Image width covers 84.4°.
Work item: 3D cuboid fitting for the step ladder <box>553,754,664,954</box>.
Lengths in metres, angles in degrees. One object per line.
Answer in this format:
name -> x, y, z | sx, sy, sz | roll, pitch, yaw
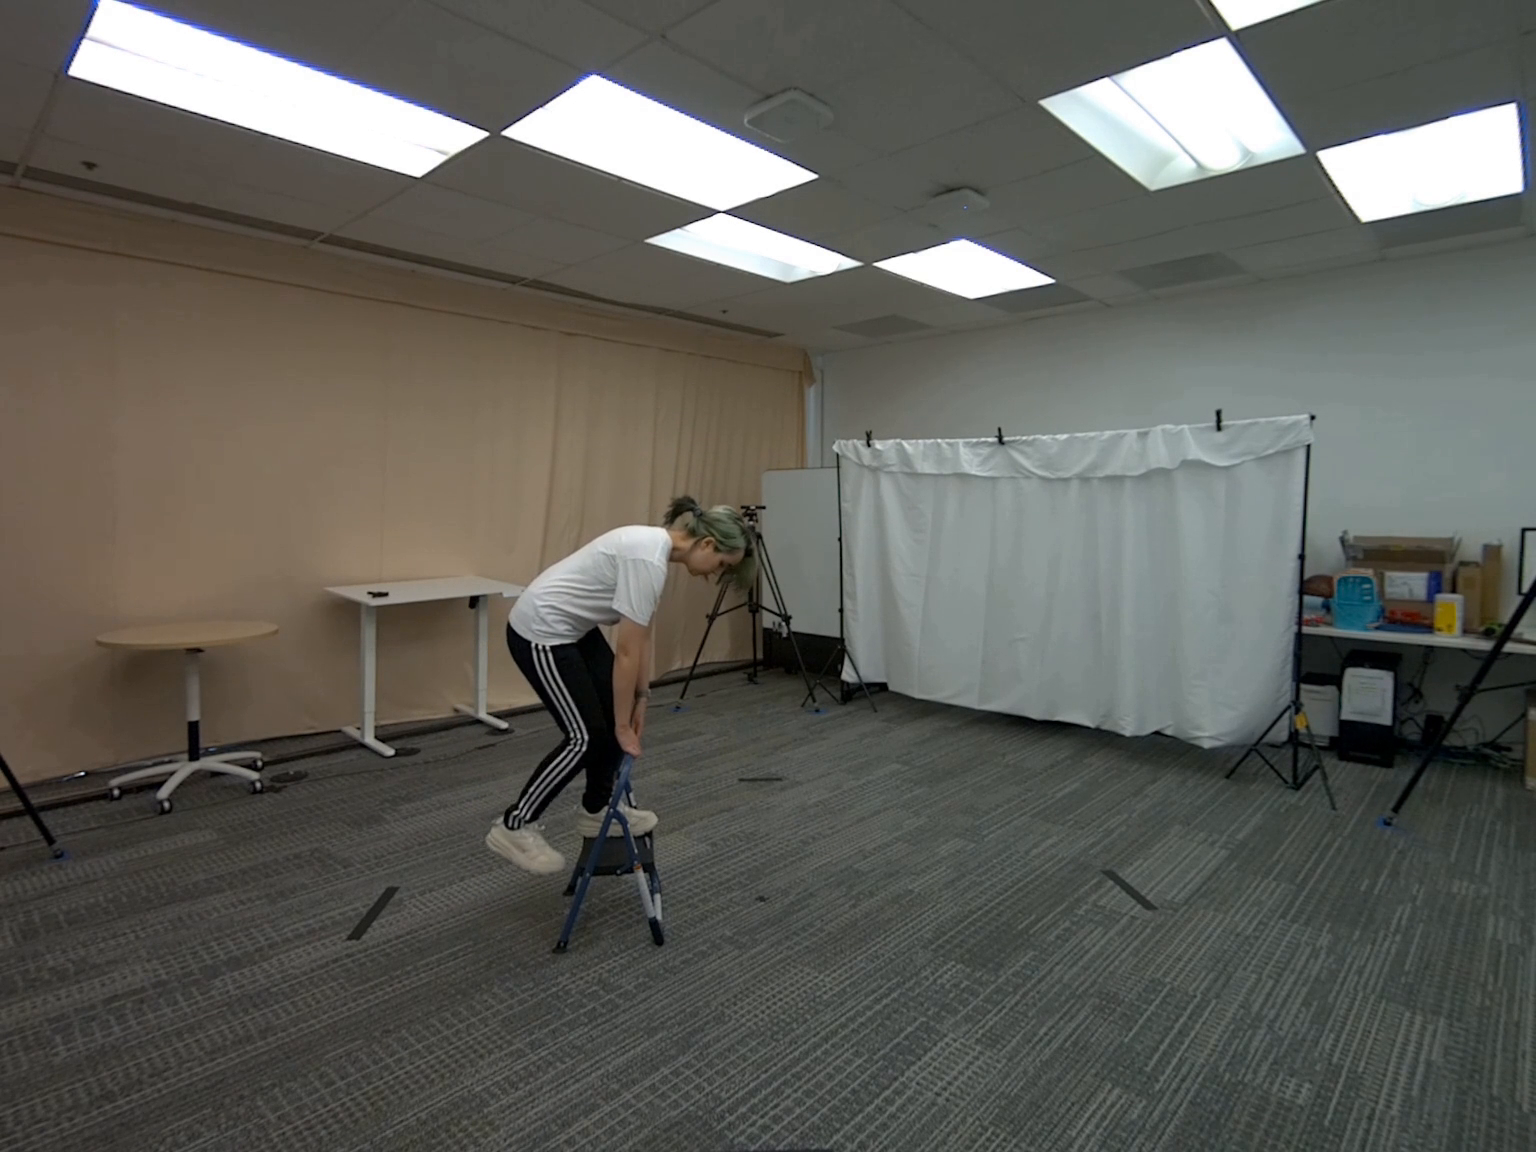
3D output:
step ladder -> -0.535, 0.865, 2.834 | 0.346, 0.605, 0.435 | -2, 3, -8
